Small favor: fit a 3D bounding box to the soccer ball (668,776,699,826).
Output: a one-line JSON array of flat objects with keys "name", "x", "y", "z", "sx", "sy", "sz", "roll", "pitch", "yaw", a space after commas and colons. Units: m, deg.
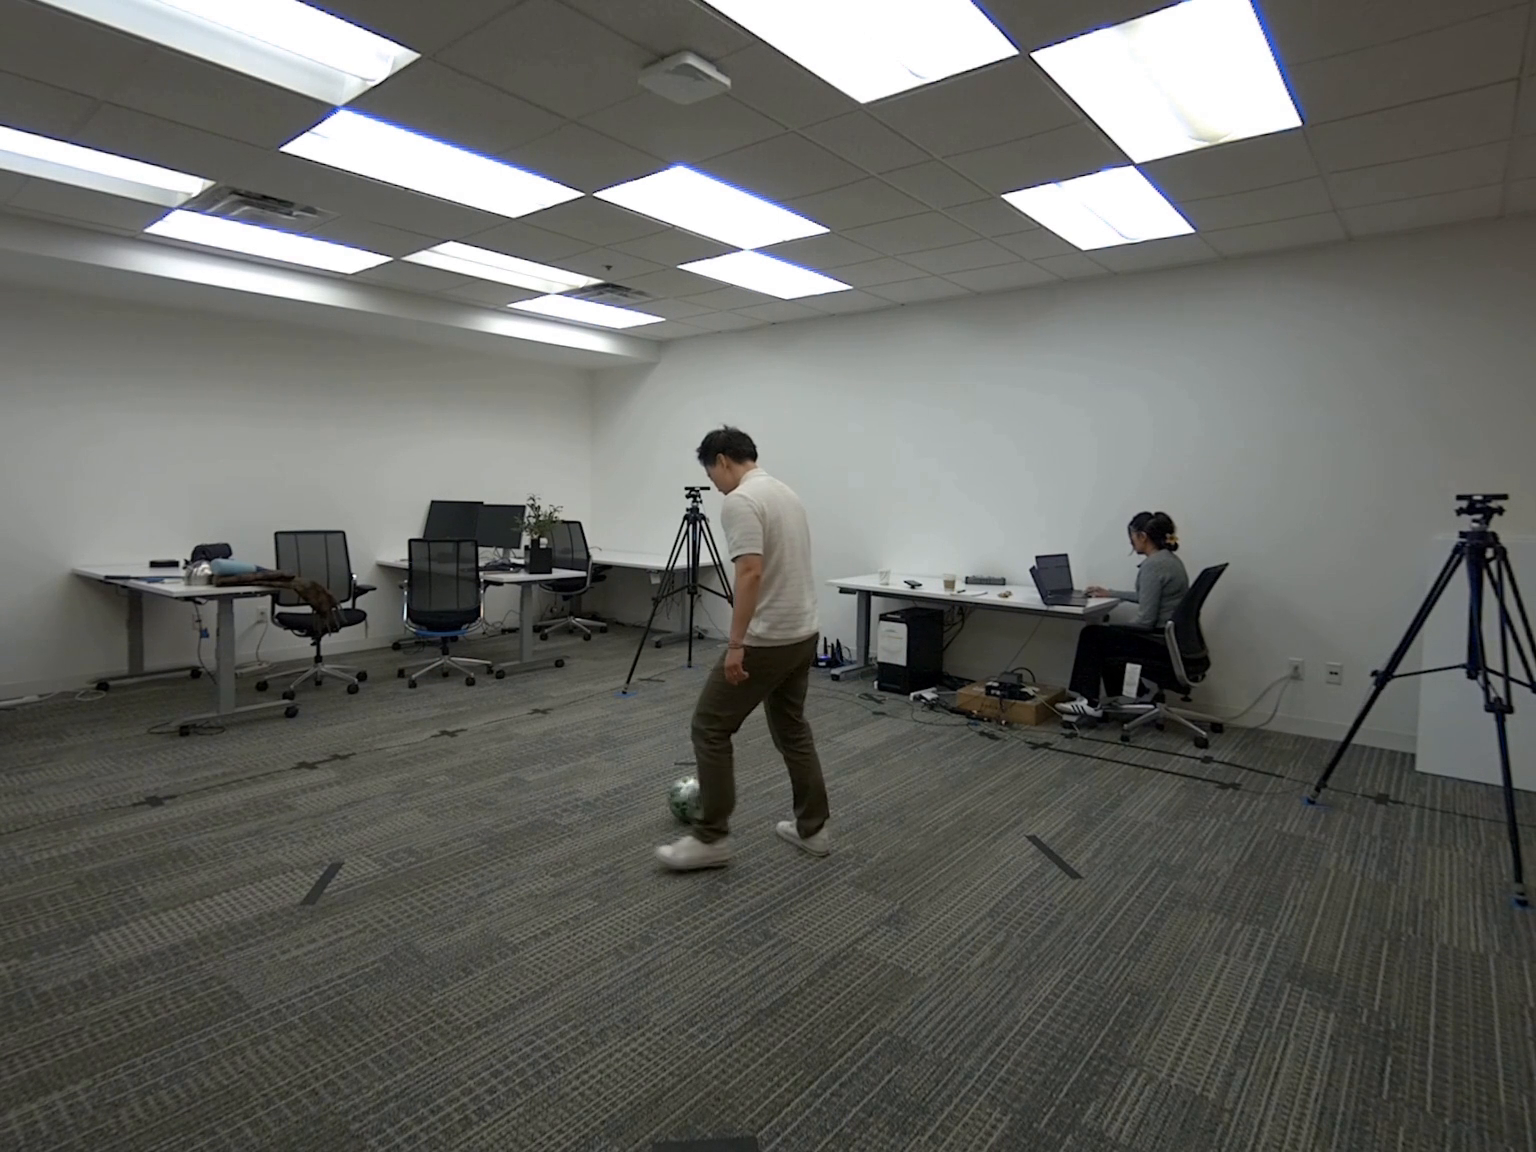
[{"name": "soccer ball", "x": -0.330, "y": 0.922, "z": 3.548, "sx": 0.187, "sy": 0.187, "sz": 0.188, "roll": 0, "pitch": 4, "yaw": -2}]
